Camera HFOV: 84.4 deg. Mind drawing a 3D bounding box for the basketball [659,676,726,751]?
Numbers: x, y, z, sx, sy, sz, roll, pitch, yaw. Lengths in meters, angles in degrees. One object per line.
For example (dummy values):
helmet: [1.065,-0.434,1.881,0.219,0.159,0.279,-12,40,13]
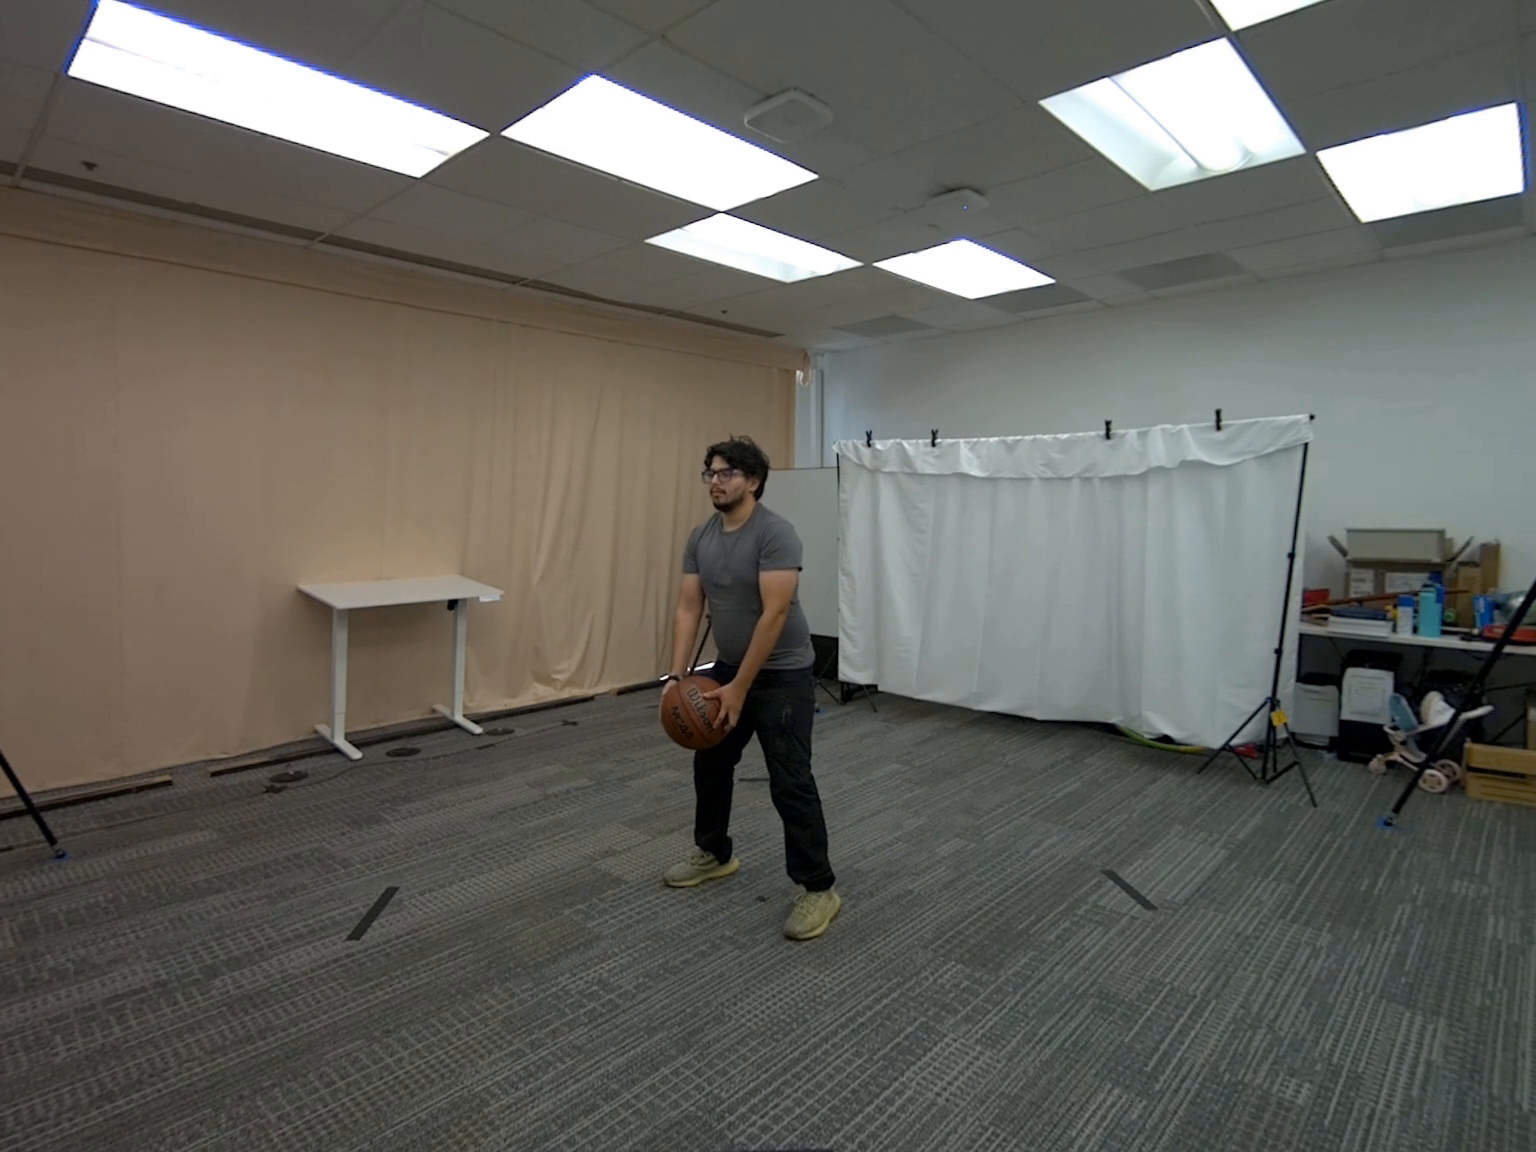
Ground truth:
basketball: [-0.236,0.444,2.766,0.236,0.235,0.237,0,4,-2]
